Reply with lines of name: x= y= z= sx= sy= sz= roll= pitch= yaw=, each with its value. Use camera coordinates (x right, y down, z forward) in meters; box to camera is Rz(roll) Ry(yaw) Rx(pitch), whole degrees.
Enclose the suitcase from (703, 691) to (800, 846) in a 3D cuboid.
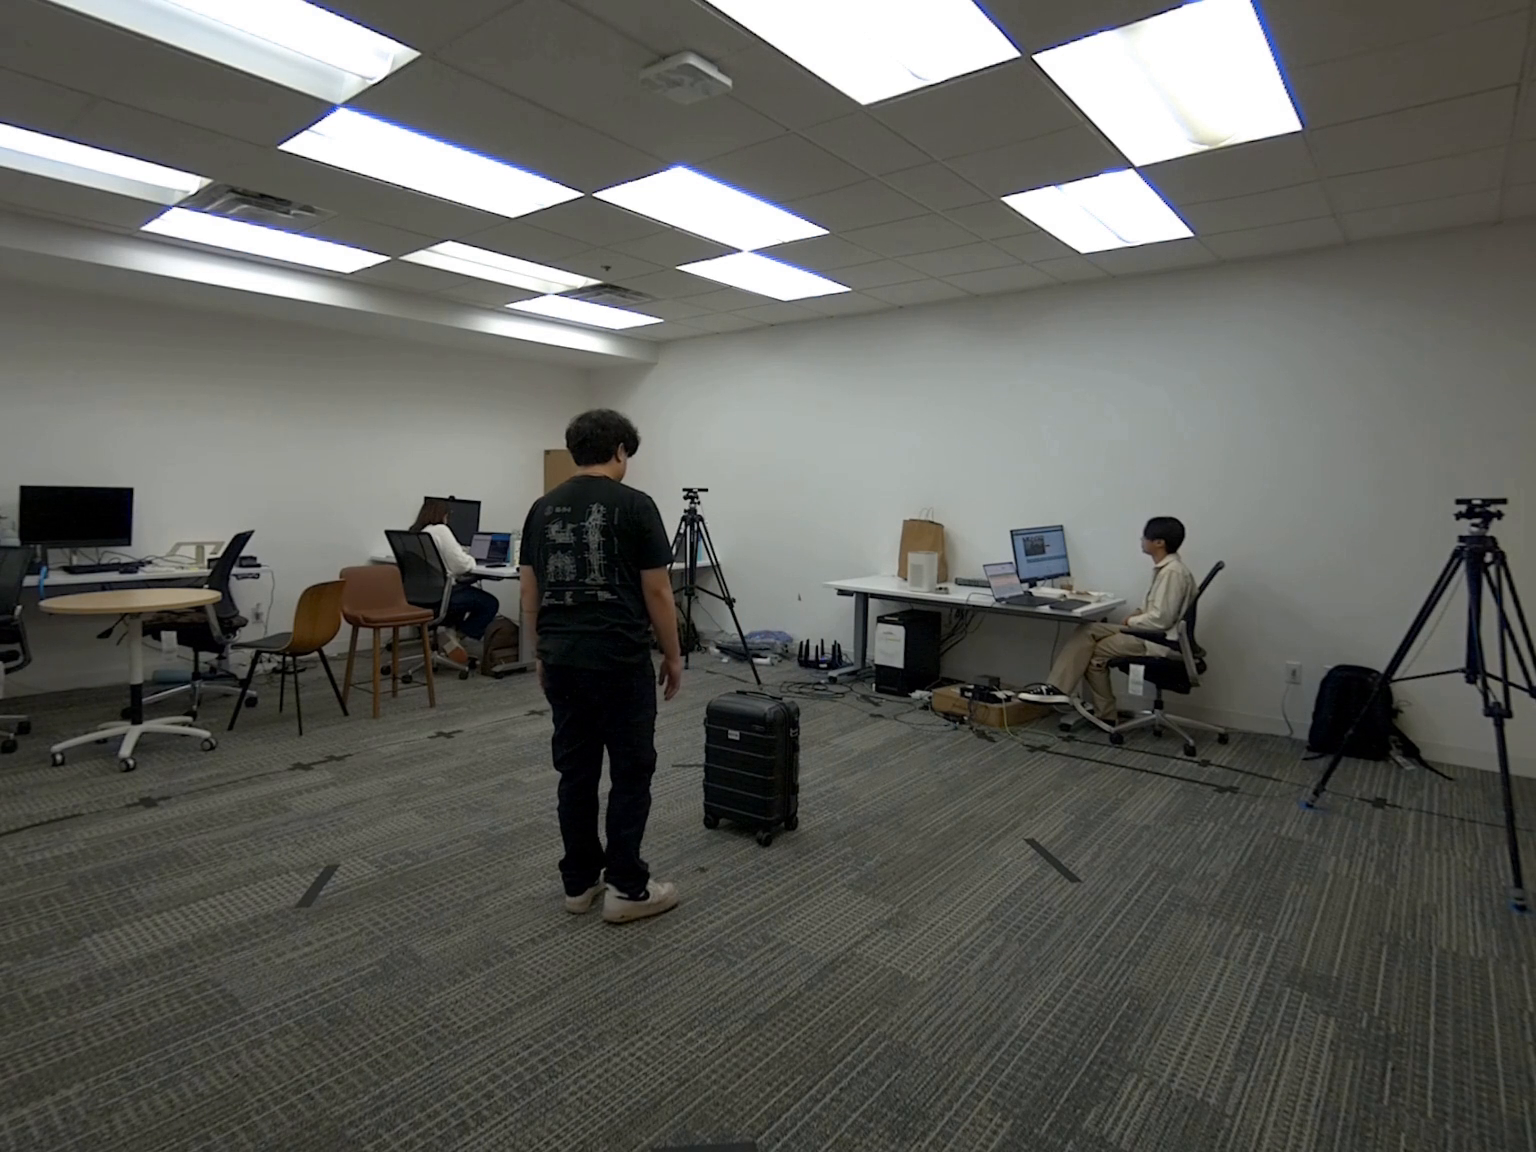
suitcase: x=-0.073 y=0.758 z=3.503 sx=0.387 sy=0.548 sz=0.241 roll=4 pitch=3 yaw=32
